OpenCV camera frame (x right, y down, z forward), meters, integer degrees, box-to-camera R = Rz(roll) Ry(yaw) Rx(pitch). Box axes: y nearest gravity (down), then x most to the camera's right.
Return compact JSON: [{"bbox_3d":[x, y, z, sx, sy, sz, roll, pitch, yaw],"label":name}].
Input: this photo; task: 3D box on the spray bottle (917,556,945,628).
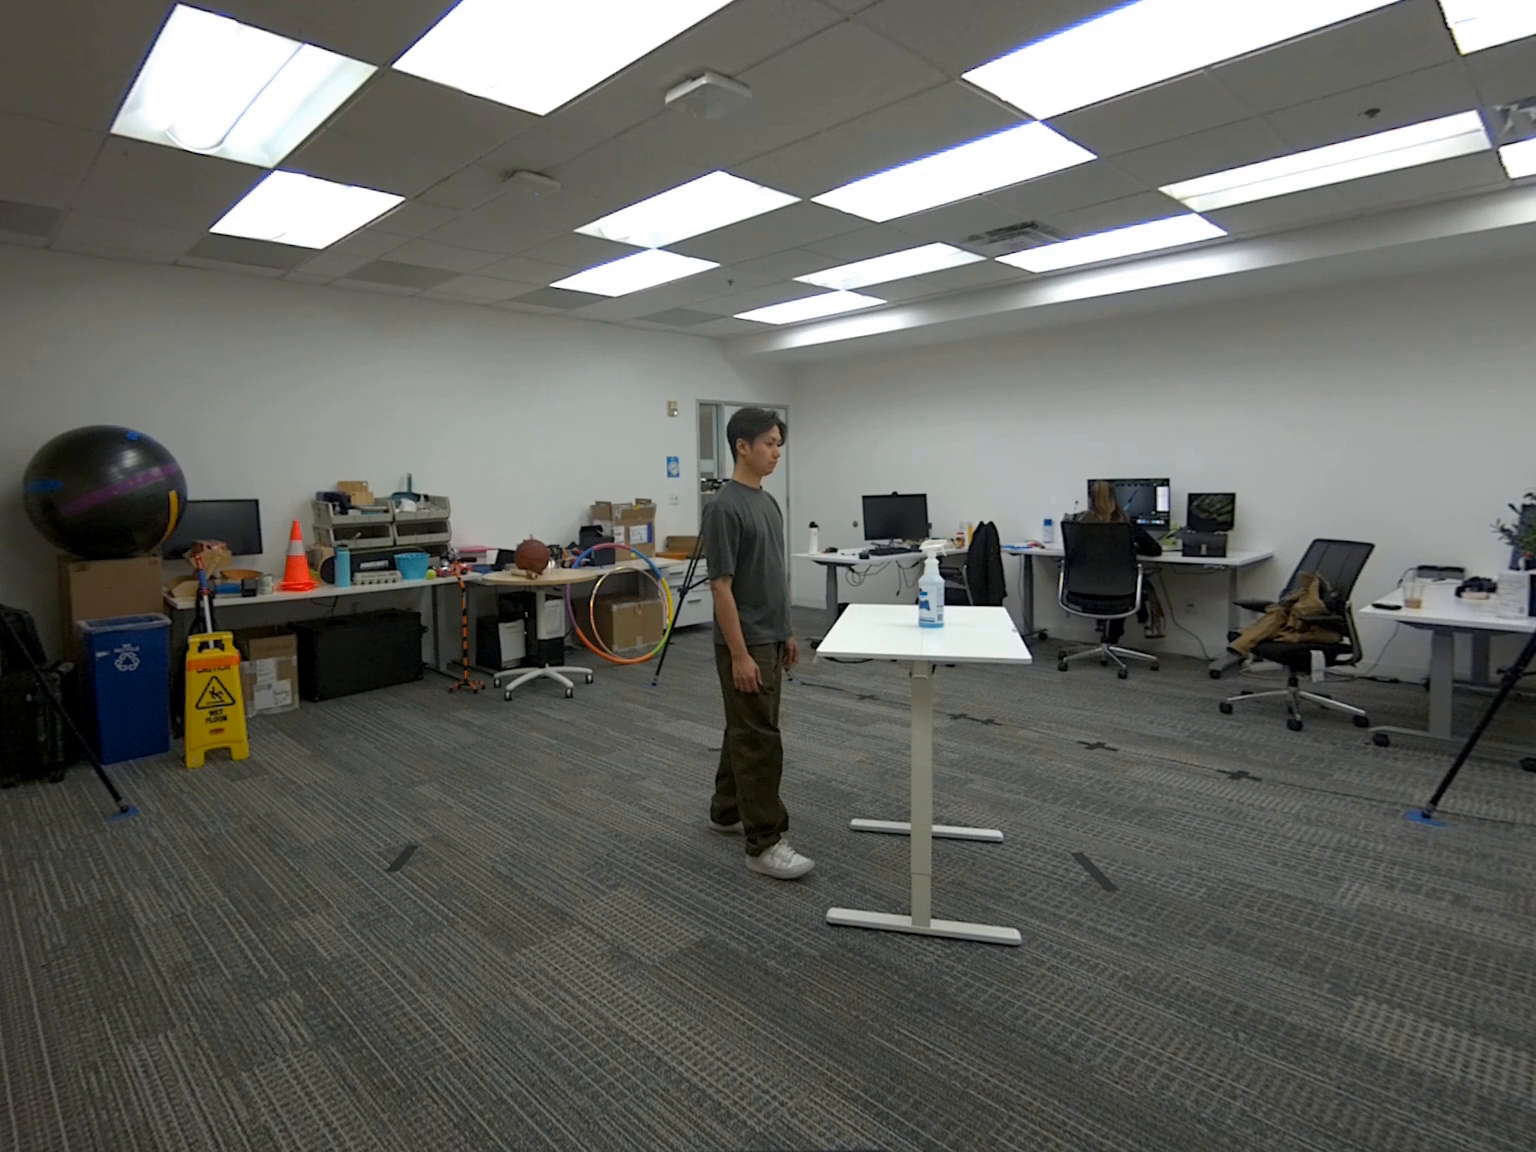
[{"bbox_3d":[0.561,0.026,2.922,0.092,0.296,0.085,2,3,27],"label":"spray bottle"}]
